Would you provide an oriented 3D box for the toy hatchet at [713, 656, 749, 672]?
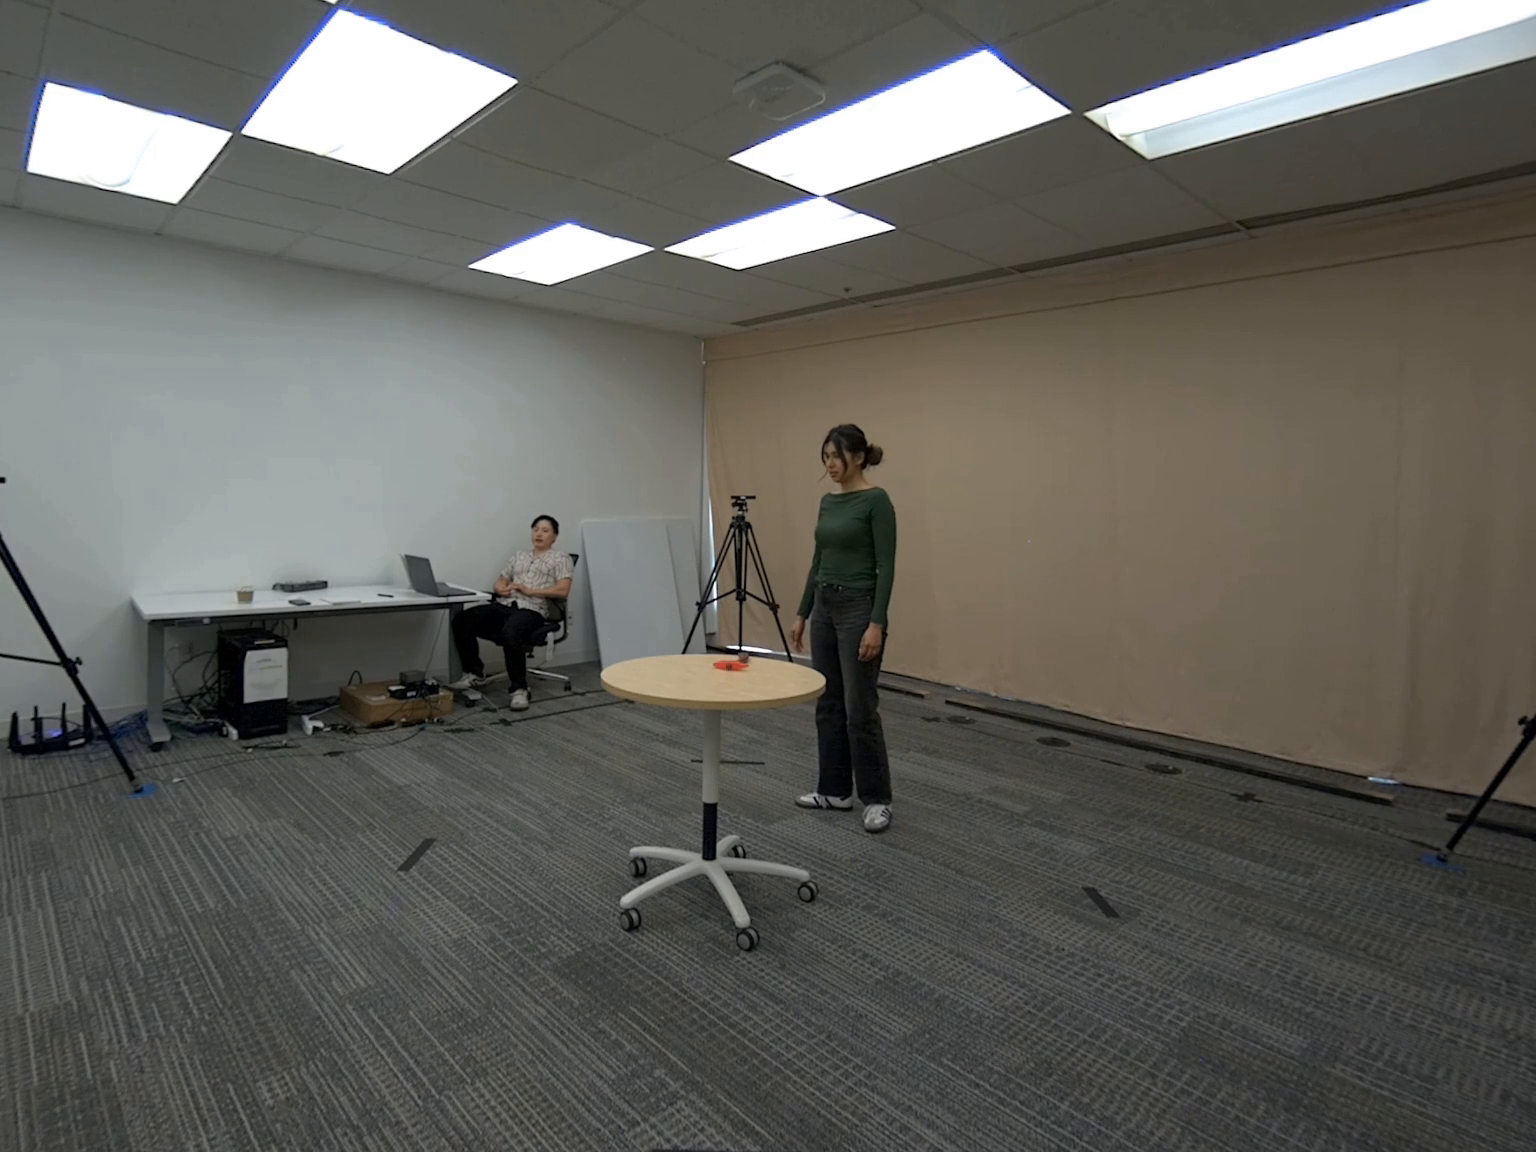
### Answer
[{"bbox_3d":[-0.138,0.312,3.085,0.131,0.029,0.271,-2,4,-1],"label":"toy hatchet"}]
